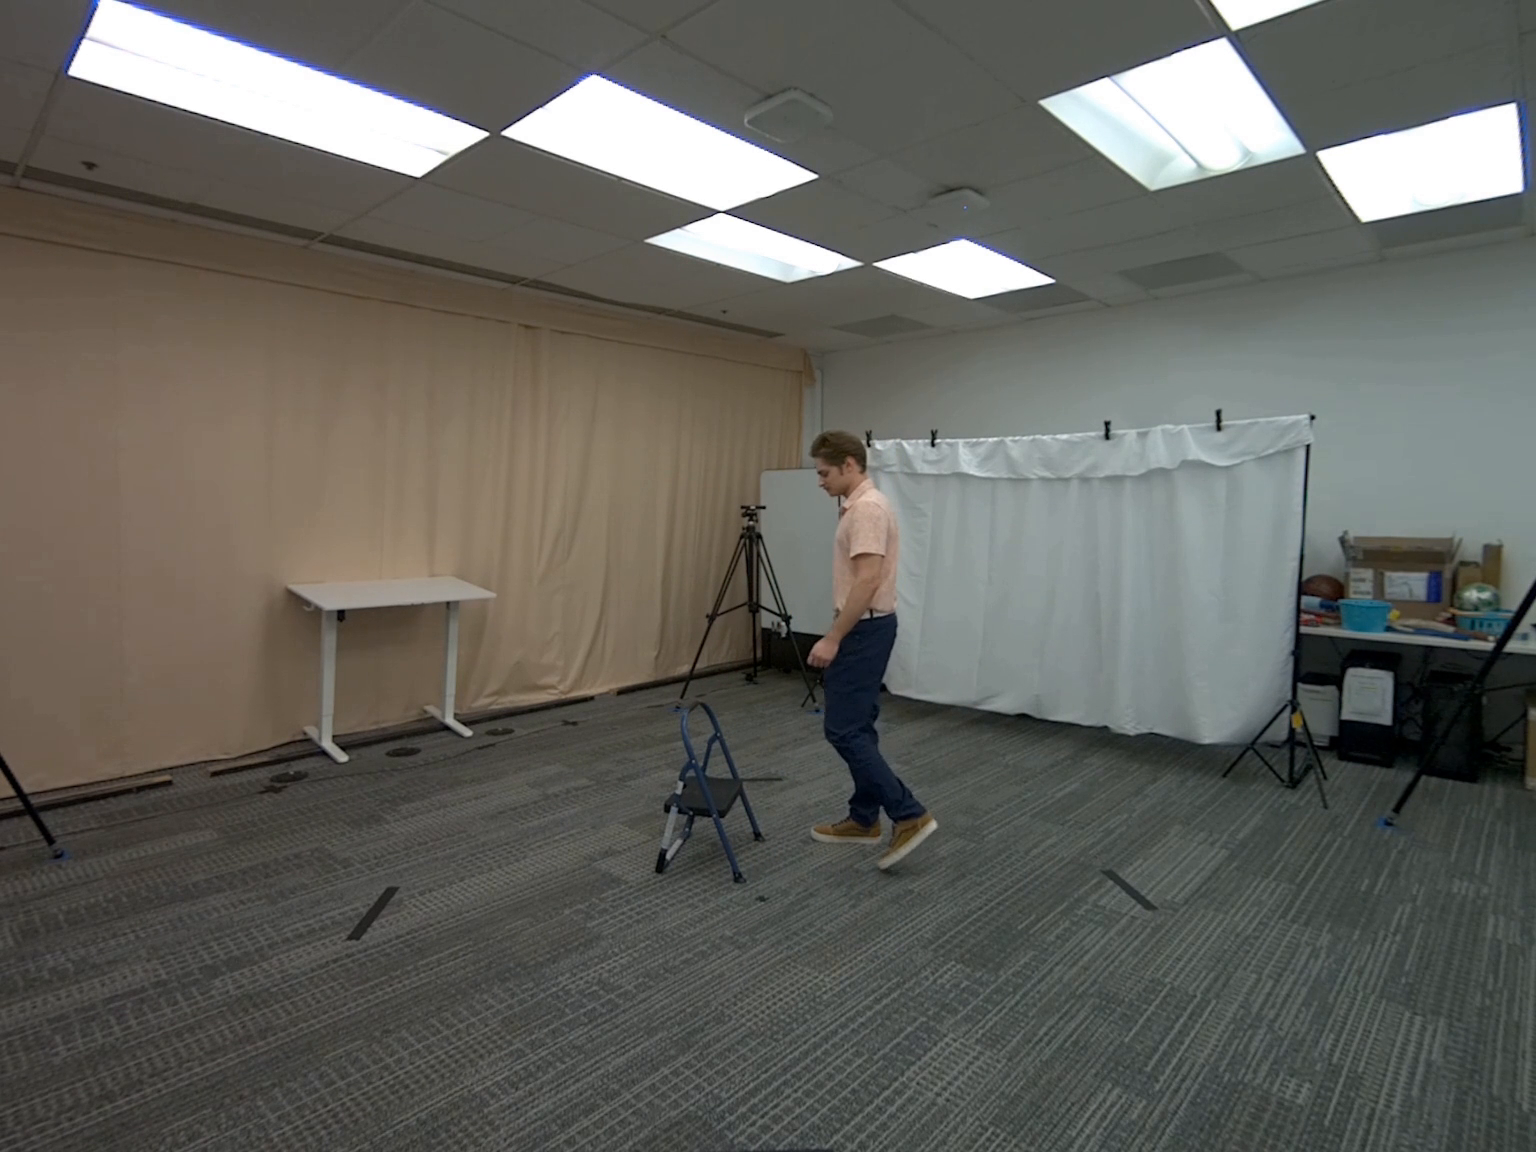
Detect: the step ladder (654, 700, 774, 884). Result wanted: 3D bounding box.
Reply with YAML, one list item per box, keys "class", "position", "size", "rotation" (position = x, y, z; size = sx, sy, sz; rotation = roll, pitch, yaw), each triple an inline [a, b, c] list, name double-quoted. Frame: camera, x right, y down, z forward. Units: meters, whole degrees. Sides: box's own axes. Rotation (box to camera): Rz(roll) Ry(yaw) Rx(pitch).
- class: "step ladder"
  position: [-0.222, 0.811, 3.337]
  size: [0.354, 0.605, 0.426]
  rotation: [0, 3, 11]
